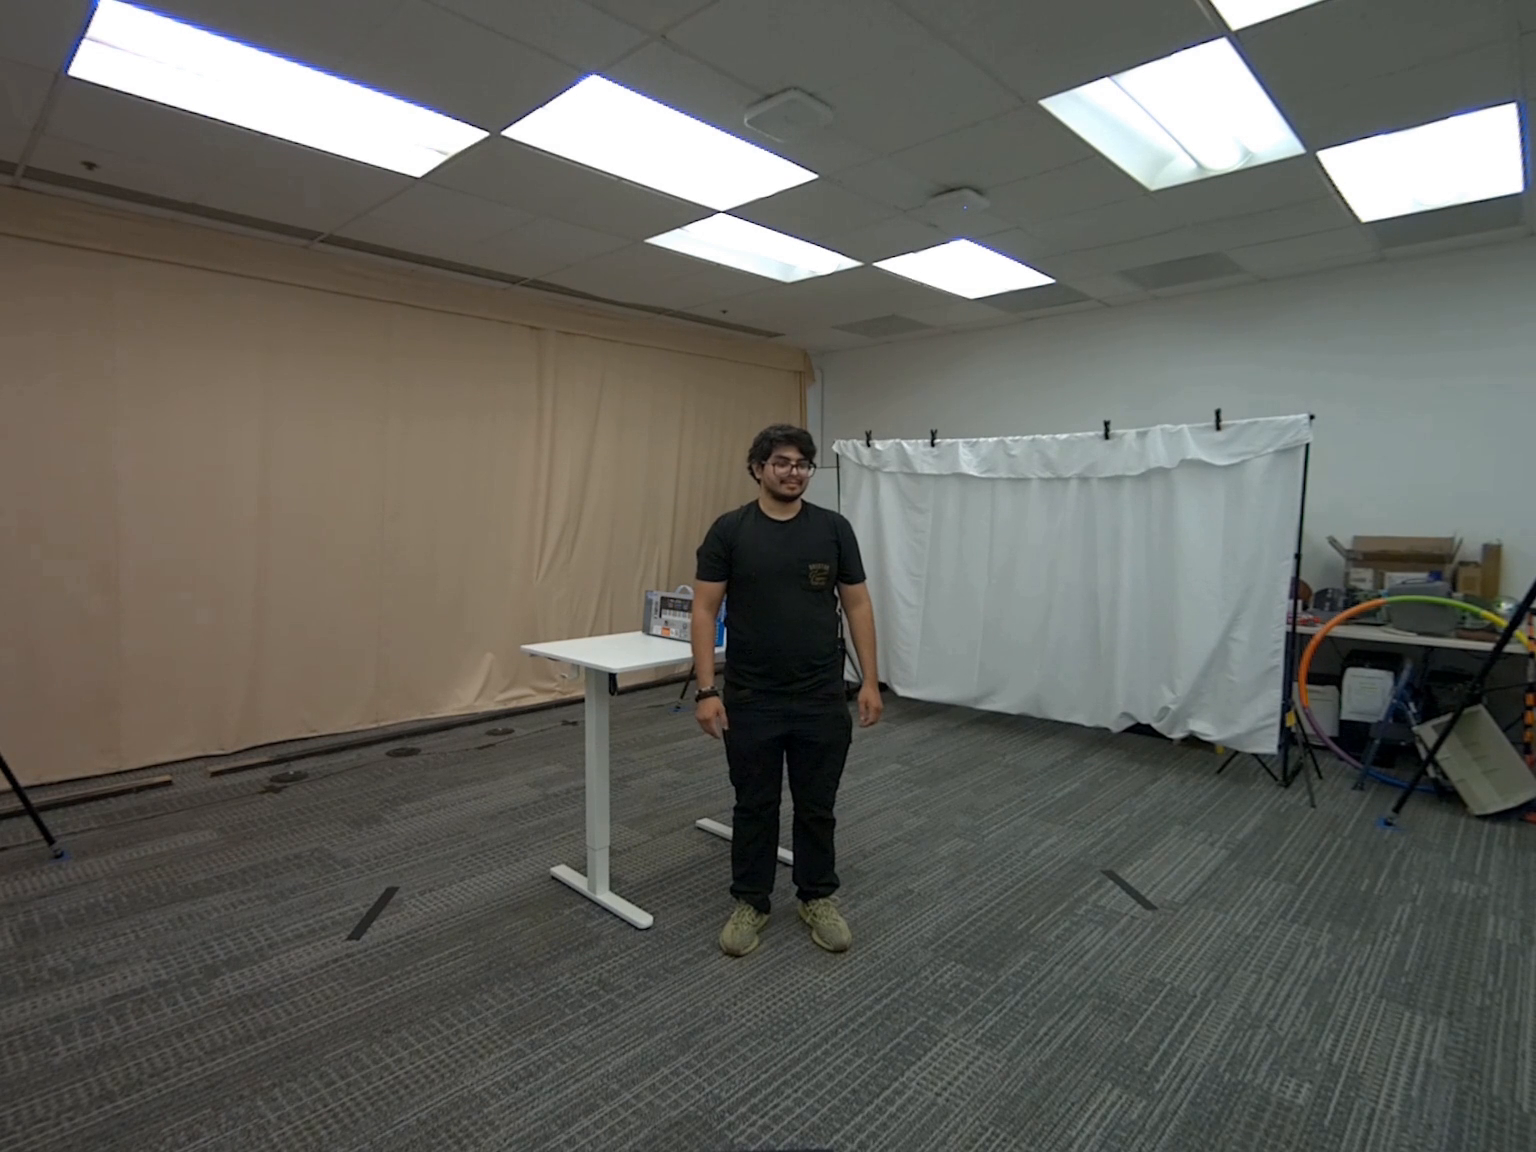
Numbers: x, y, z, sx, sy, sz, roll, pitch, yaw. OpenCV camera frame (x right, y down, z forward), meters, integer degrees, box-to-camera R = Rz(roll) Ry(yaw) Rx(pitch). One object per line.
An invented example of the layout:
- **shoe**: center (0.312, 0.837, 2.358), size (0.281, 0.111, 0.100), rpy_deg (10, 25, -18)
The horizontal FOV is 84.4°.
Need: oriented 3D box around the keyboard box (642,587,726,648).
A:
- **keyboard box**: center (-0.323, 0.158, 3.217), size (0.057, 0.176, 0.451), rpy_deg (7, -2, -43)
